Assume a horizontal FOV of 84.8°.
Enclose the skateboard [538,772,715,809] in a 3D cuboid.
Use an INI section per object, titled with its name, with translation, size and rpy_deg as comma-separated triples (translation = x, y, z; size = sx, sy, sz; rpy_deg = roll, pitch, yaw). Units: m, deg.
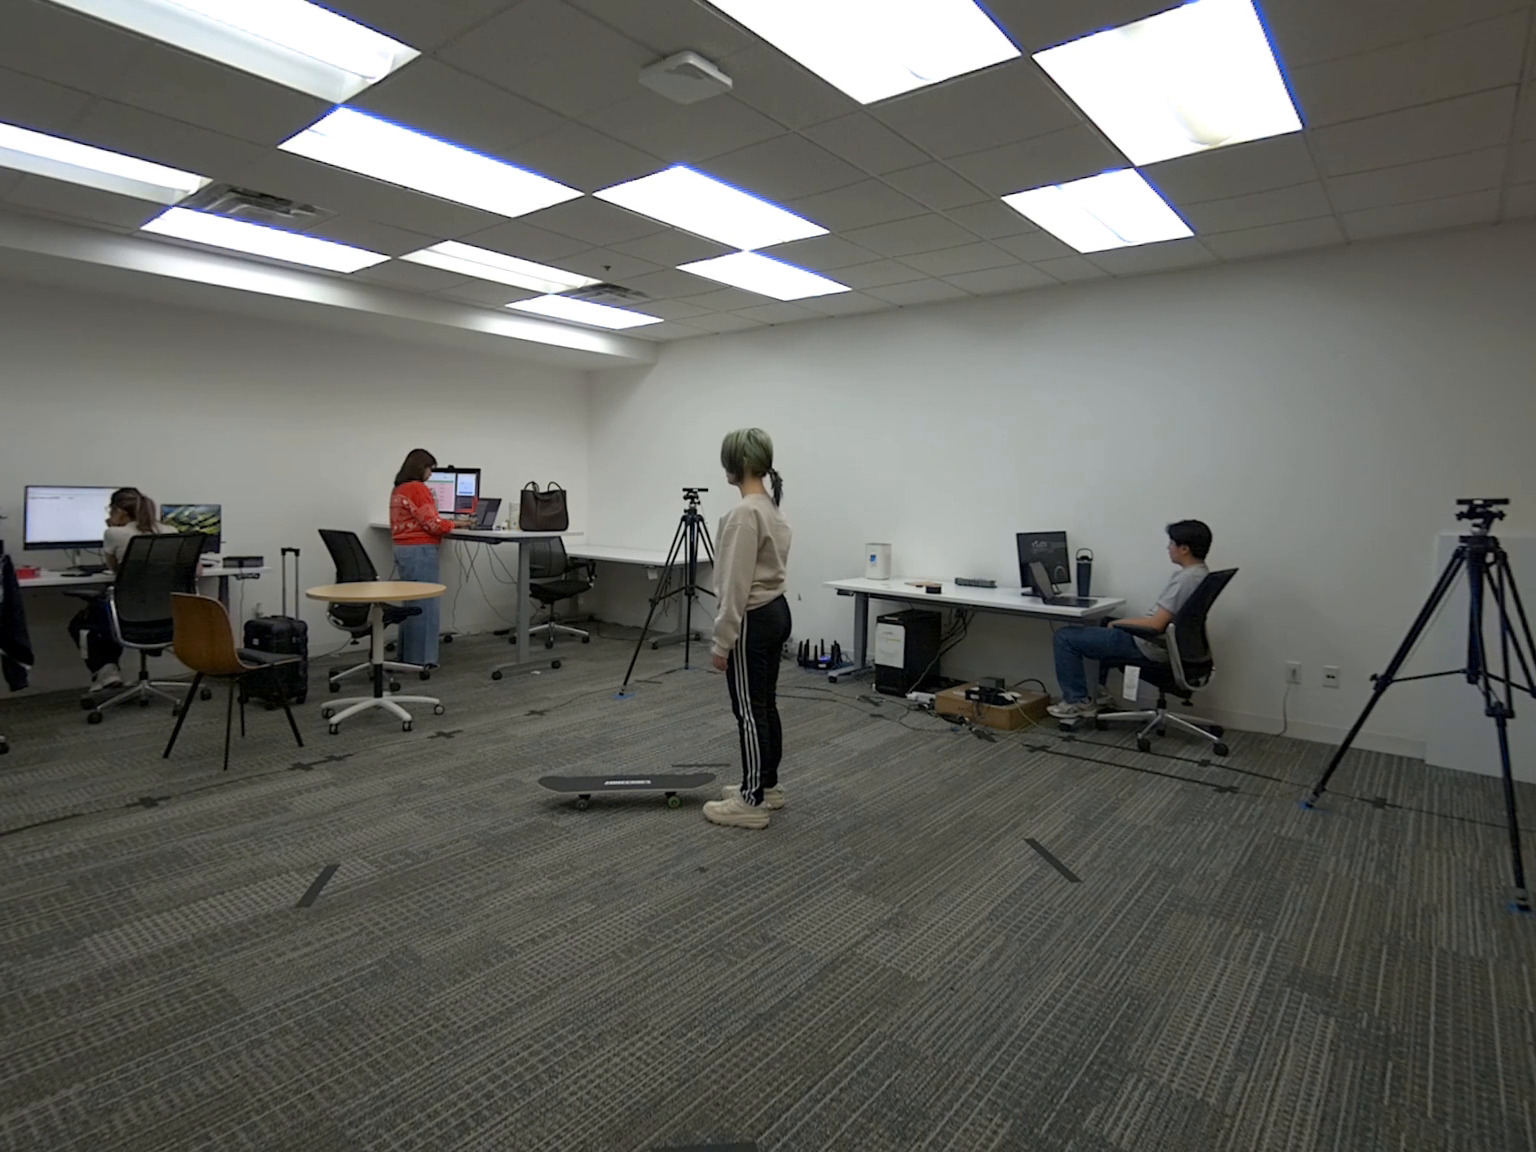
[skateboard]
translation = -0.636, 0.941, 3.761
size = 0.780, 0.110, 0.196
rpy_deg = 1, 5, -7
